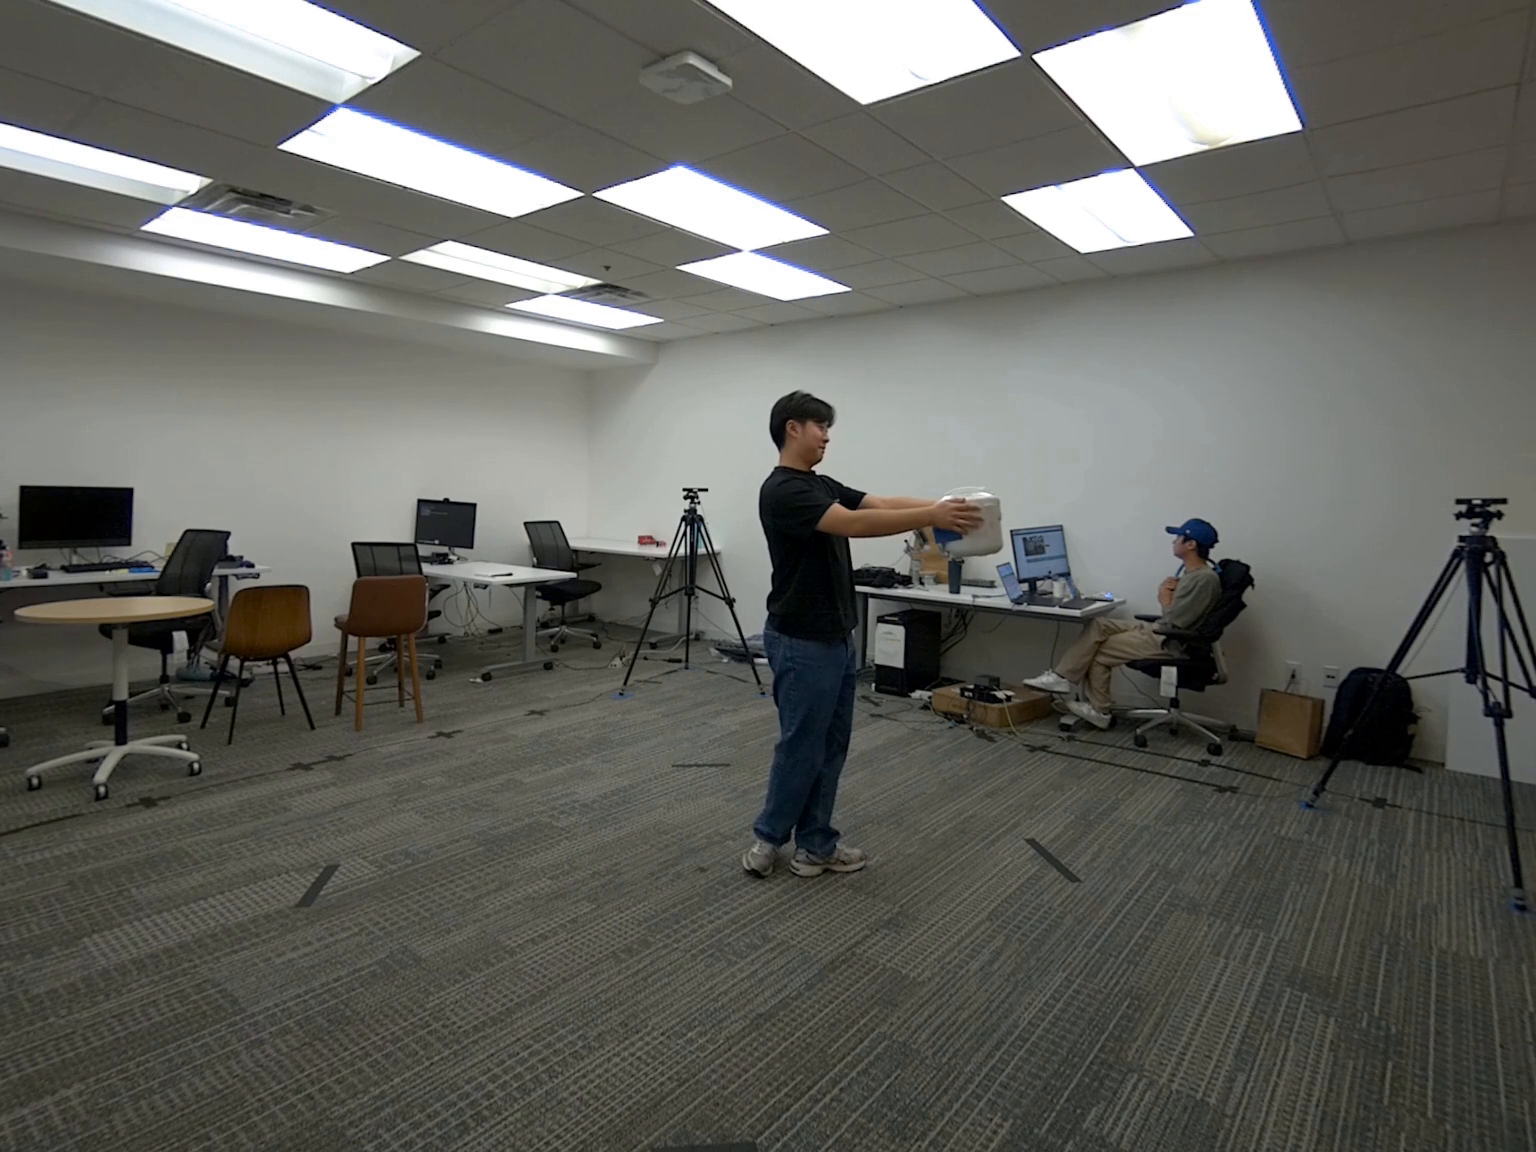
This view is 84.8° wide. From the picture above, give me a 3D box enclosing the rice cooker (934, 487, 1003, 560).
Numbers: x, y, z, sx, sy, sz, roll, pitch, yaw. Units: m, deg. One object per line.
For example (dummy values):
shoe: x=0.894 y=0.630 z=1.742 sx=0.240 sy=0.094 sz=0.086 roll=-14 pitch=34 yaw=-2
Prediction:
rice cooker: x=0.653 y=-0.185 z=2.858 sx=0.226 sy=0.233 sz=0.212 roll=-4 pitch=1 yaw=28
